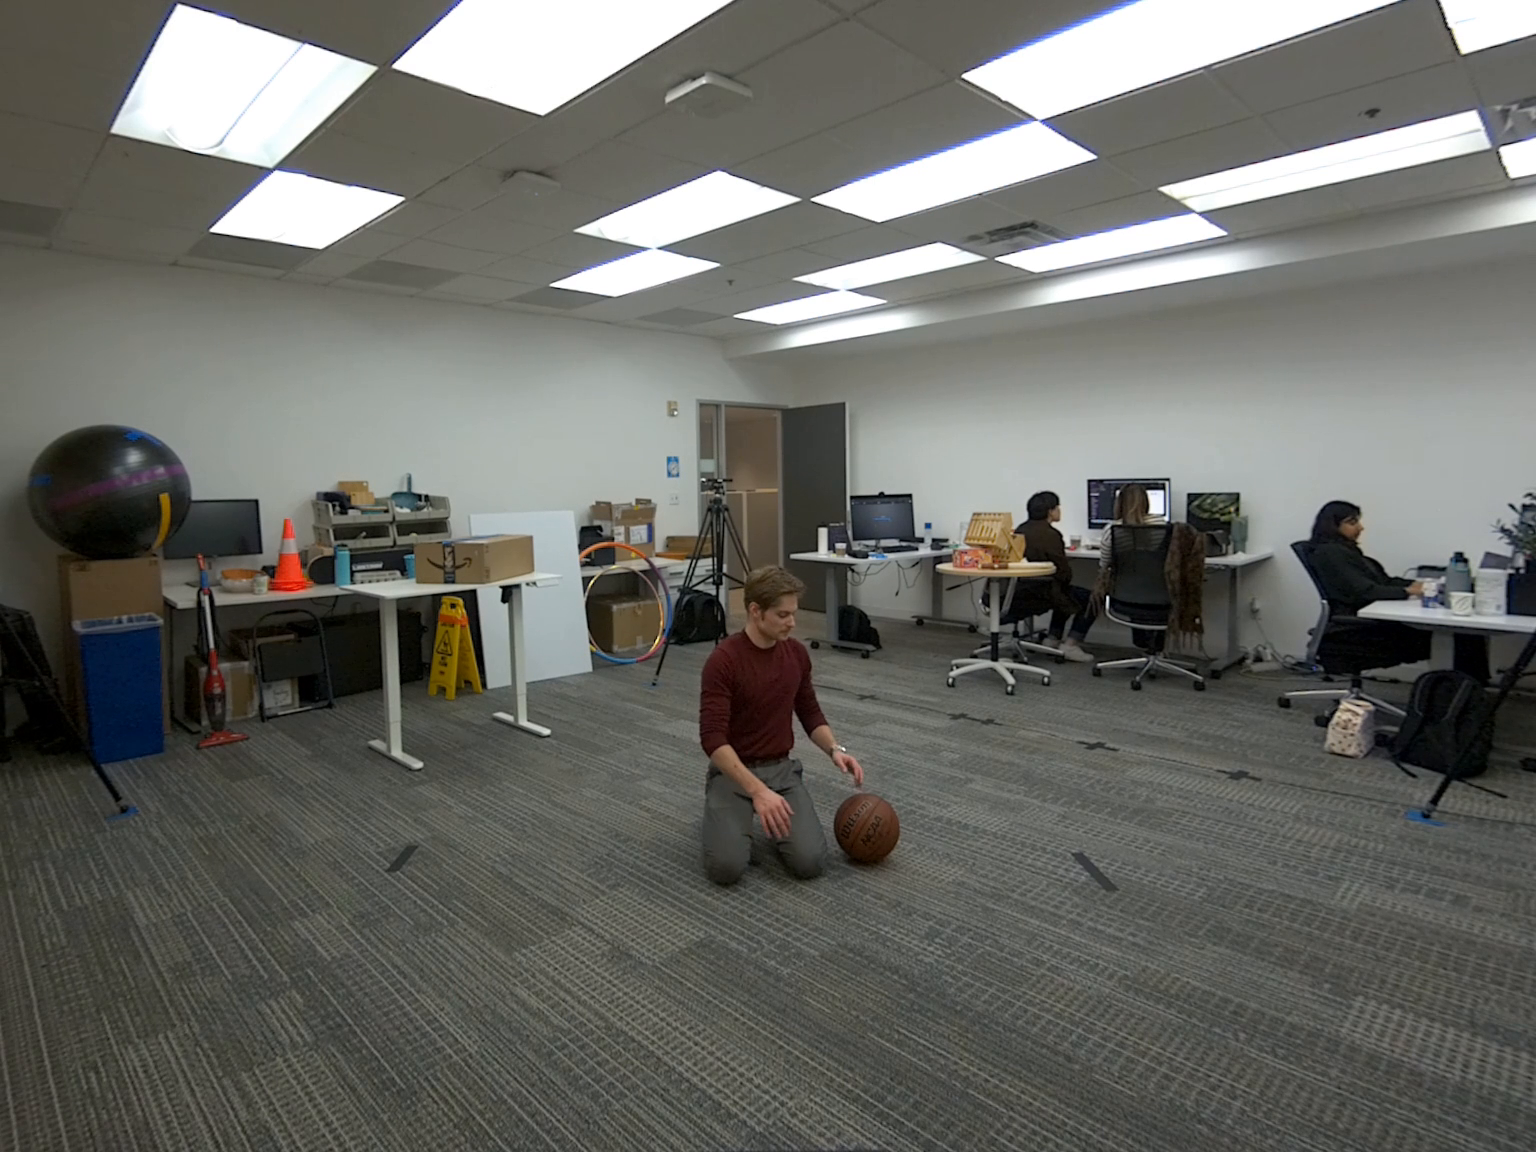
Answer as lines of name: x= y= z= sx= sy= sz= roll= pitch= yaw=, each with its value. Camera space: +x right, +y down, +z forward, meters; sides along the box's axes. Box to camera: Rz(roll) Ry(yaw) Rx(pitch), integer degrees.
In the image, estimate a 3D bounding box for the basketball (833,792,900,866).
basketball: x=0.360 y=0.913 z=3.111 sx=0.236 sy=0.235 sz=0.237 roll=-1 pitch=5 yaw=-2
